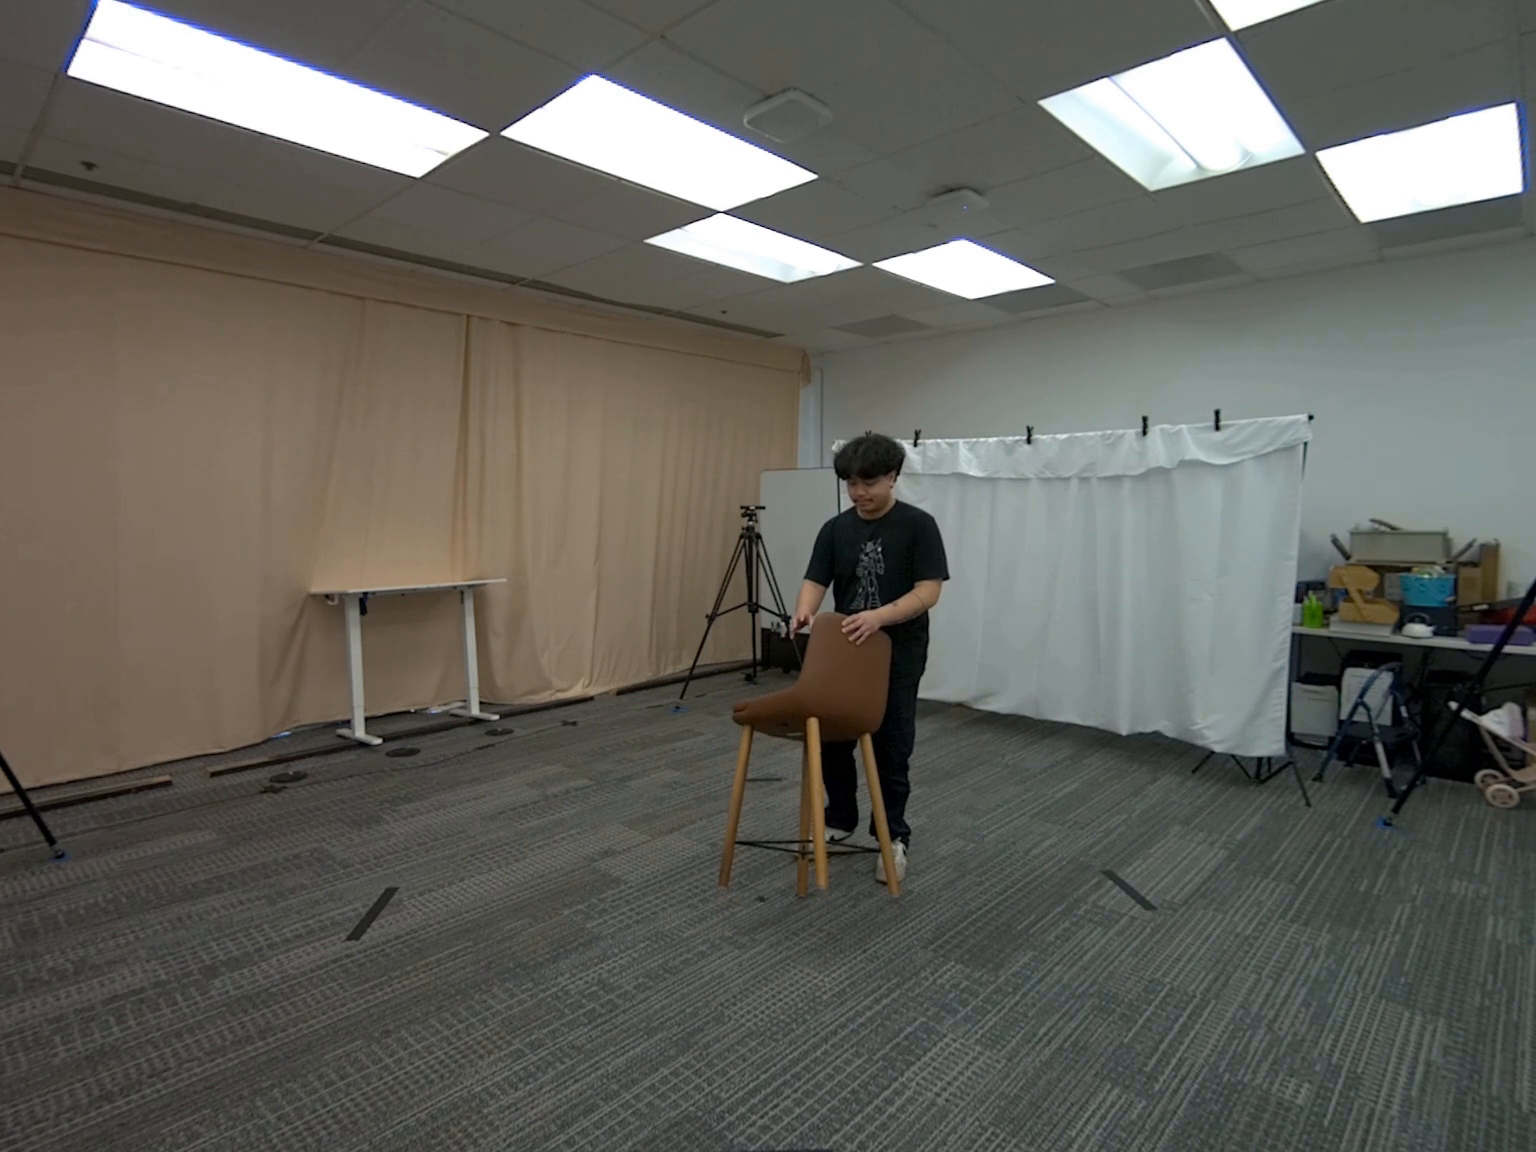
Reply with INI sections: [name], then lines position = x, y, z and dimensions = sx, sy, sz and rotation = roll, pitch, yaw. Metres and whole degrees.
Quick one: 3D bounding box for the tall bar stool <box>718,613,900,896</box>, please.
[tall bar stool]
position = 0.153, 0.626, 2.909
dimensions = 0.440, 0.900, 0.479
rotation = 22, -29, -39
